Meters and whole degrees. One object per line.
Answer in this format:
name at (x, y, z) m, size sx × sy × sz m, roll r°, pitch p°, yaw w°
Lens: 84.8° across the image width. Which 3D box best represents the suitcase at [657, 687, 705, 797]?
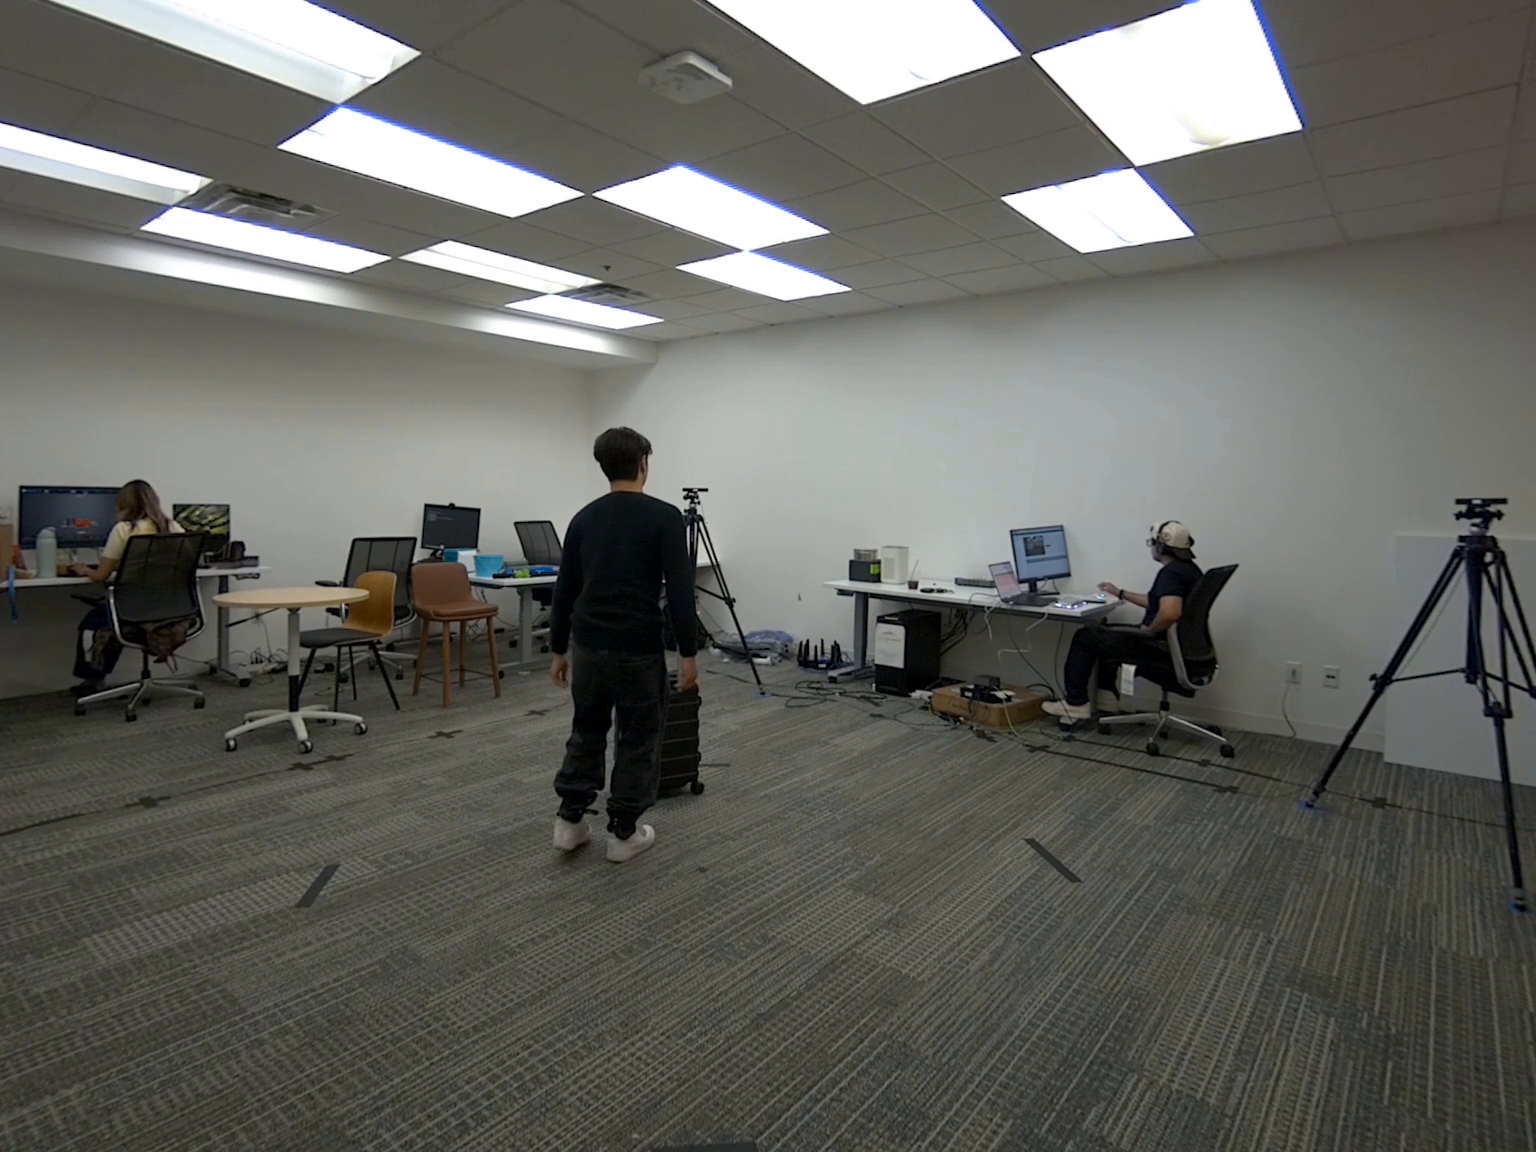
suitcase at (-0.524, 0.514, 3.886) m, size 0.374 × 0.977 × 0.264 m, roll -2°, pitch 2°, yaw -31°
